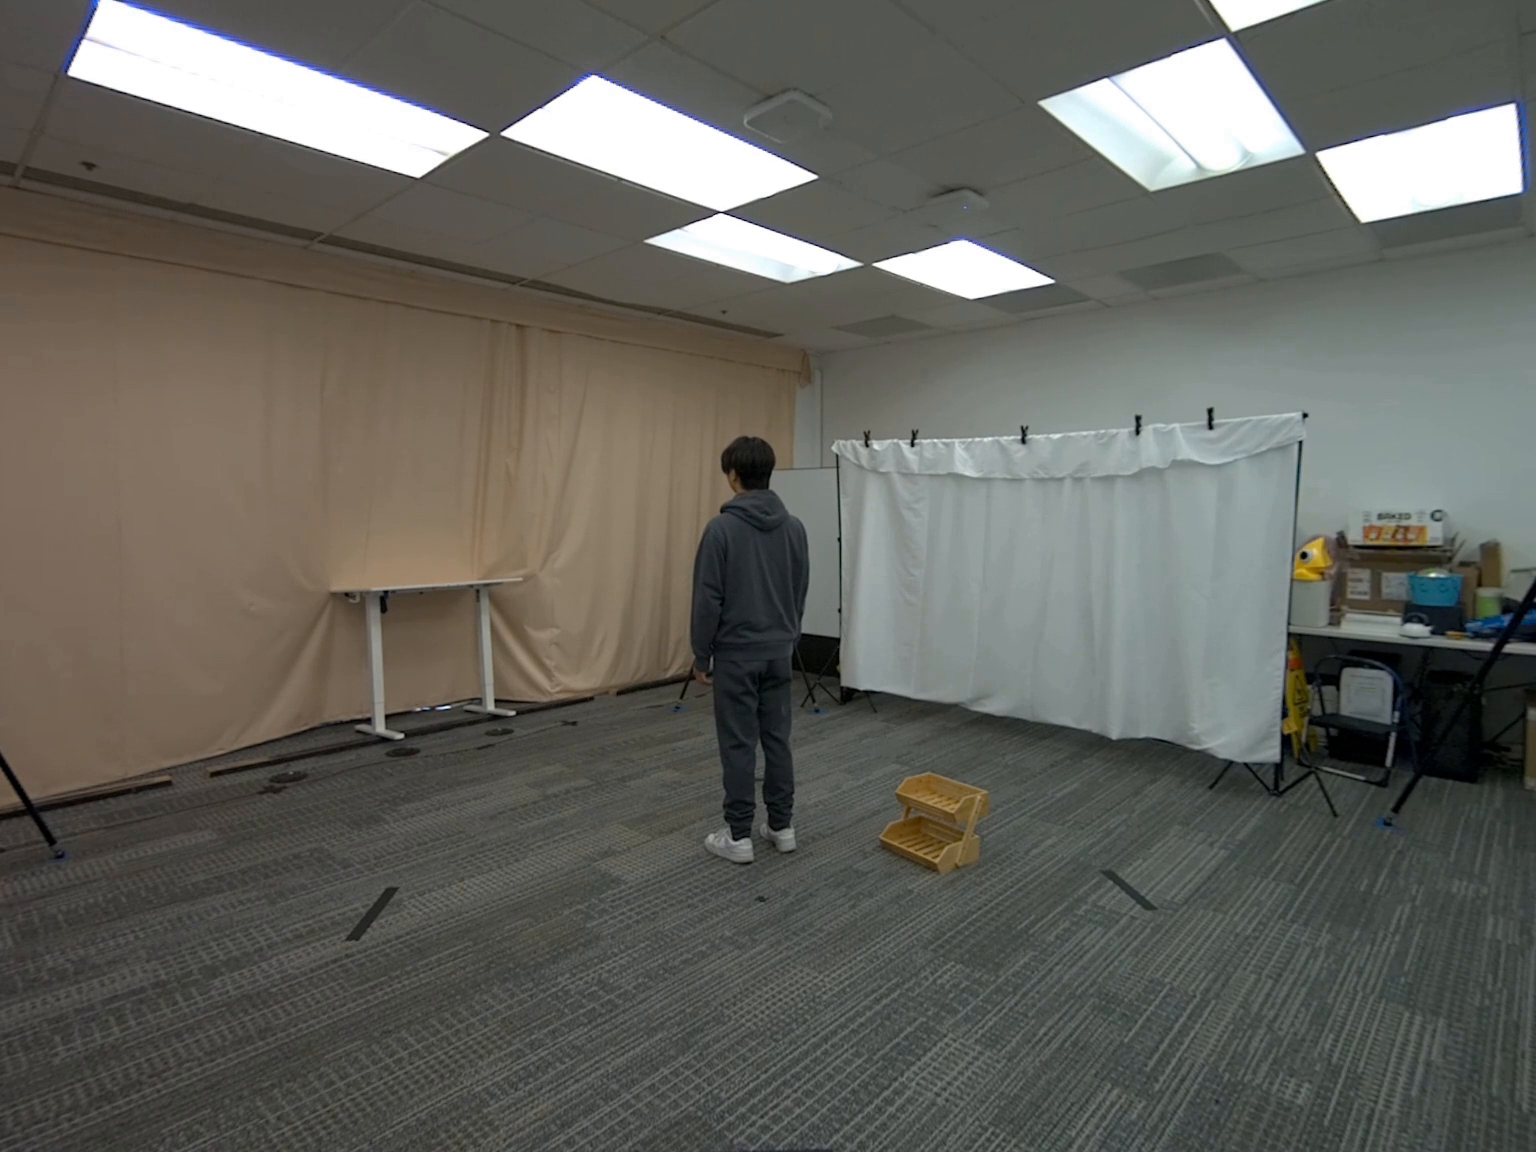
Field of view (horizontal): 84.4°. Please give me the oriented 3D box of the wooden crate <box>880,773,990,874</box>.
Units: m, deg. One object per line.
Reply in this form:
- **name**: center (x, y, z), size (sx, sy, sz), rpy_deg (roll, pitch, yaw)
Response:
- **wooden crate**: center (0.661, 0.972, 3.375), size (0.293, 0.273, 0.335), rpy_deg (-2, 5, -38)
